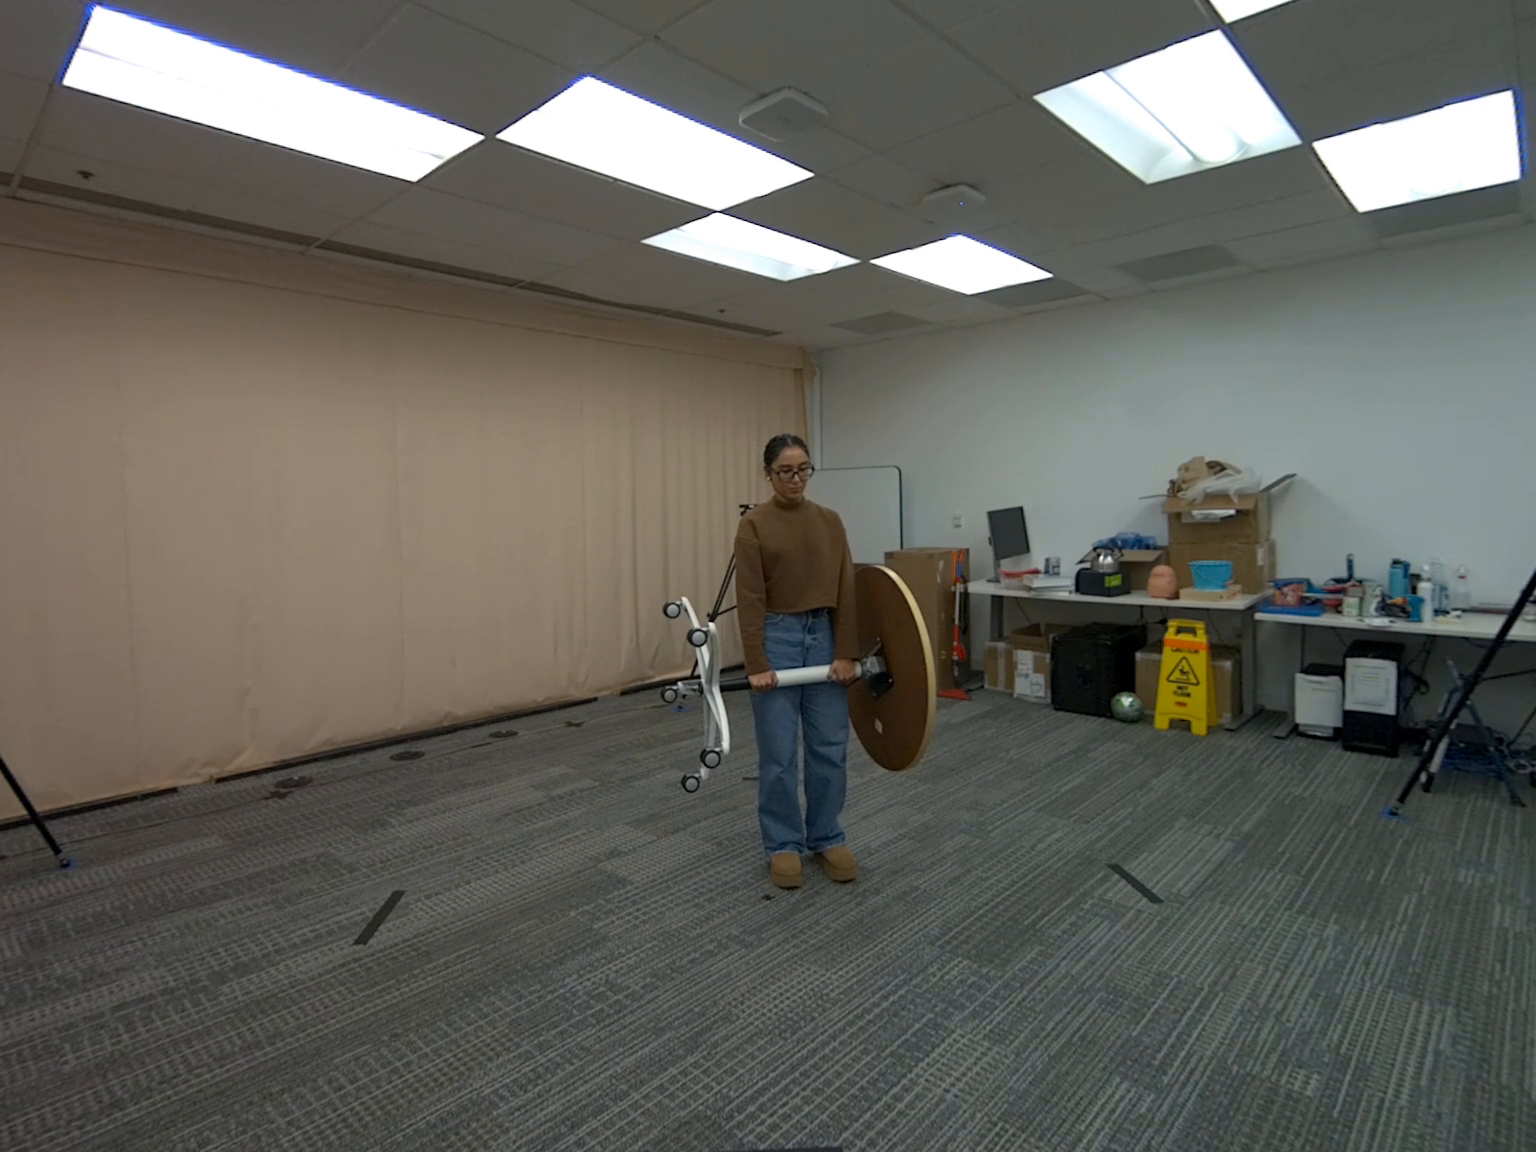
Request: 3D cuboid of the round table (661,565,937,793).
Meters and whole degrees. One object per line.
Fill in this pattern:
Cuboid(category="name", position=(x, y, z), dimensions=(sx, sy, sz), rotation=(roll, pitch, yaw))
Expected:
Cuboid(category="round table", position=(0.059, 0.384, 3.079), dimensions=(0.781, 0.761, 0.779), rotation=(-6, 5, -17))
